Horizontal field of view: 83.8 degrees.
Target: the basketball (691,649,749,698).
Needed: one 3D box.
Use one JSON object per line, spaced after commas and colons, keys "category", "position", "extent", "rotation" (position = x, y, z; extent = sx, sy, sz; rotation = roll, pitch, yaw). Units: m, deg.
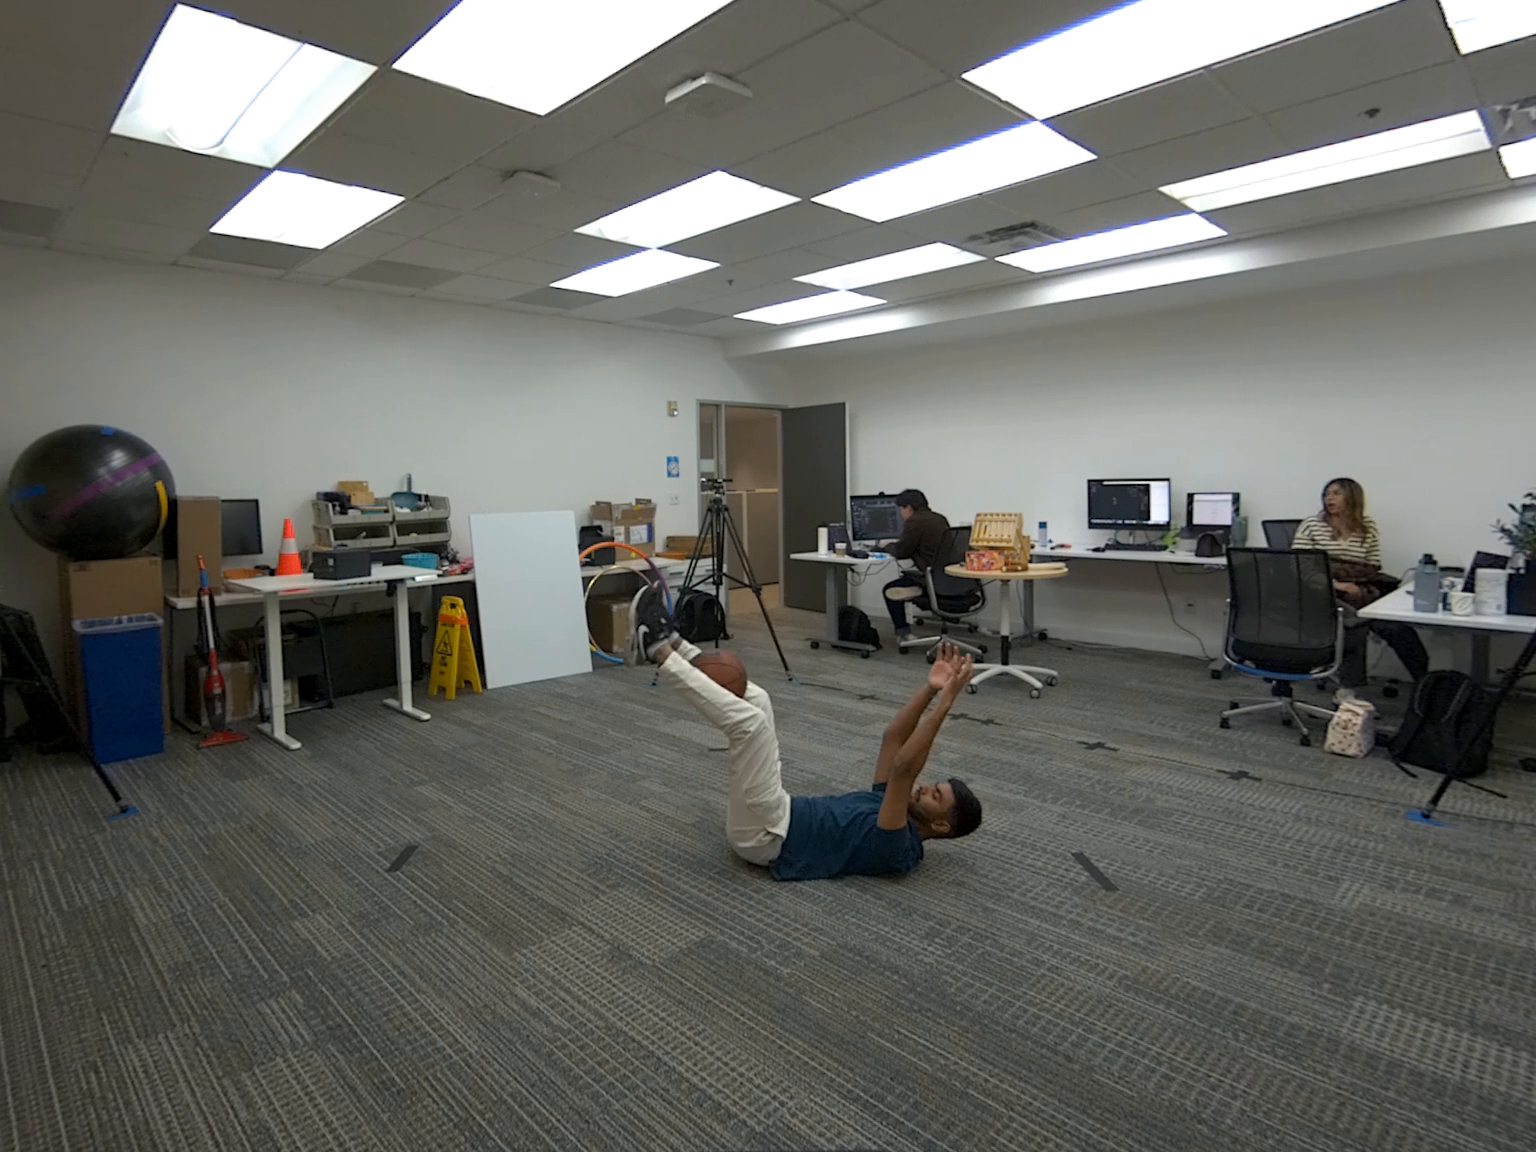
{"category": "basketball", "position": [-0.200, 0.397, 3.159], "extent": [0.236, 0.235, 0.237], "rotation": [-1, 5, -2]}
